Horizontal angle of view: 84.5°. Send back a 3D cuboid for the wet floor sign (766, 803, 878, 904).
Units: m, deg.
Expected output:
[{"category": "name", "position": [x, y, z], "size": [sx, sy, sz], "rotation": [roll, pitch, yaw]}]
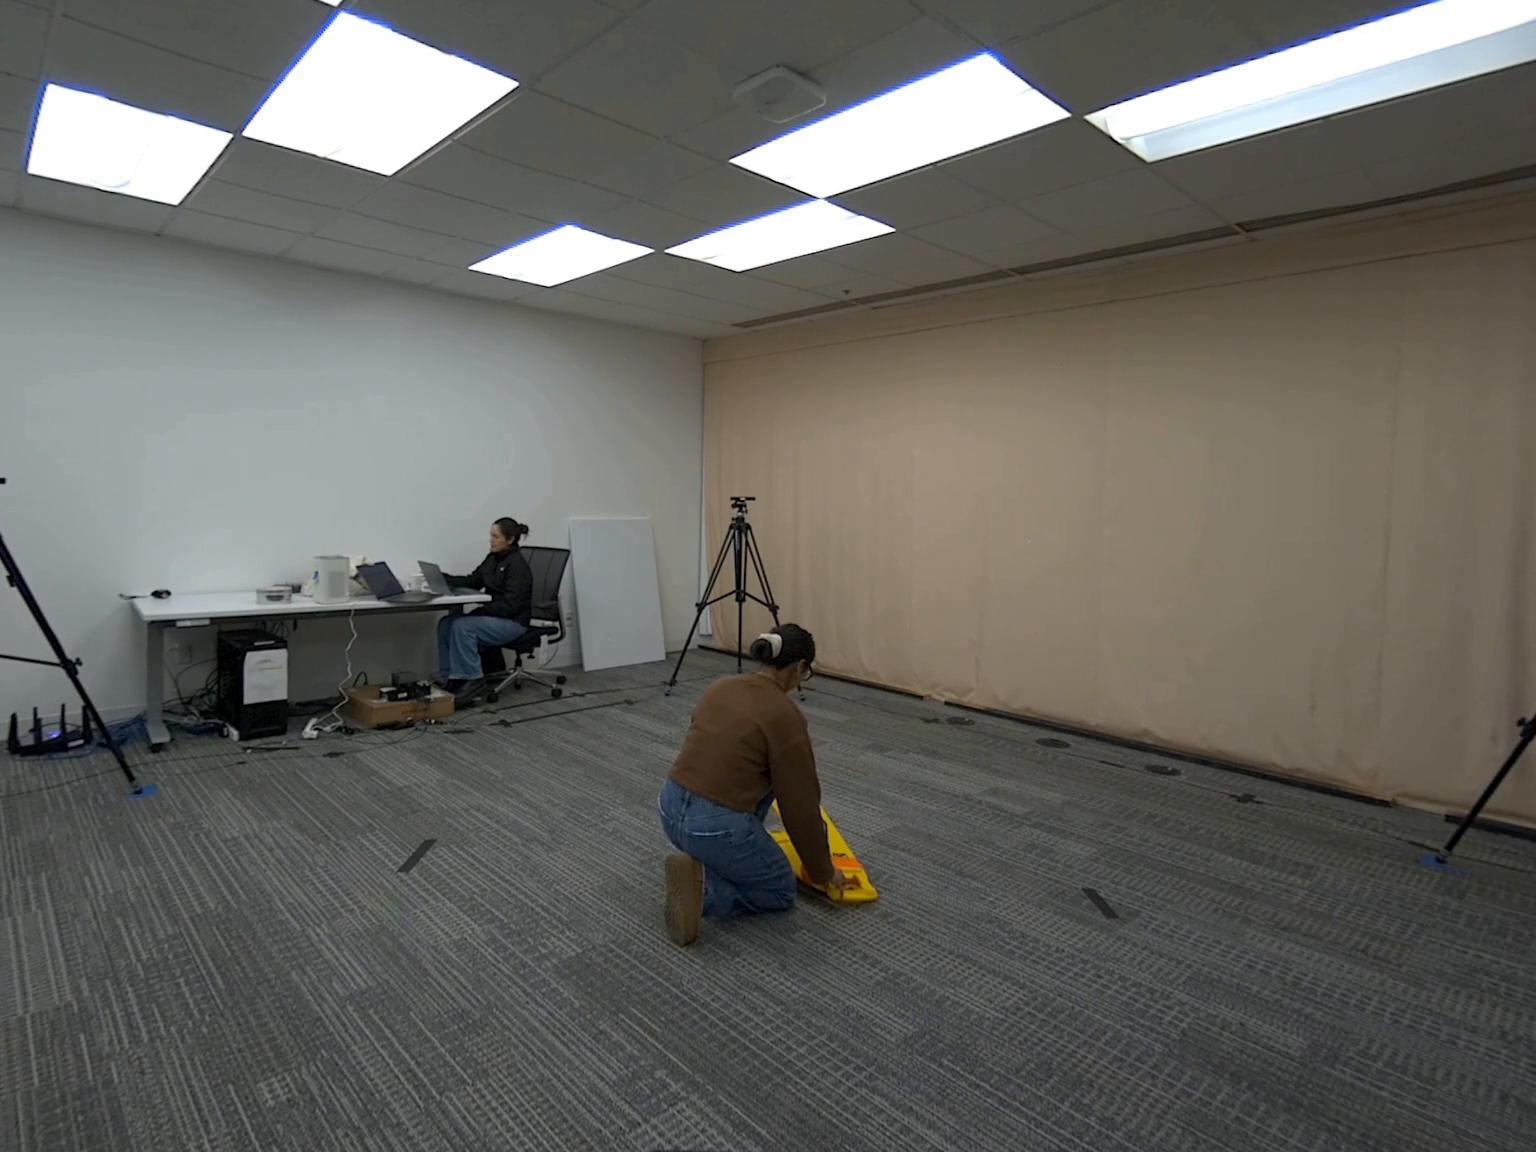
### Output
[{"category": "wet floor sign", "position": [0.134, 1.011, 3.153], "size": [0.275, 0.288, 0.665], "rotation": [13, 10, -33]}]
